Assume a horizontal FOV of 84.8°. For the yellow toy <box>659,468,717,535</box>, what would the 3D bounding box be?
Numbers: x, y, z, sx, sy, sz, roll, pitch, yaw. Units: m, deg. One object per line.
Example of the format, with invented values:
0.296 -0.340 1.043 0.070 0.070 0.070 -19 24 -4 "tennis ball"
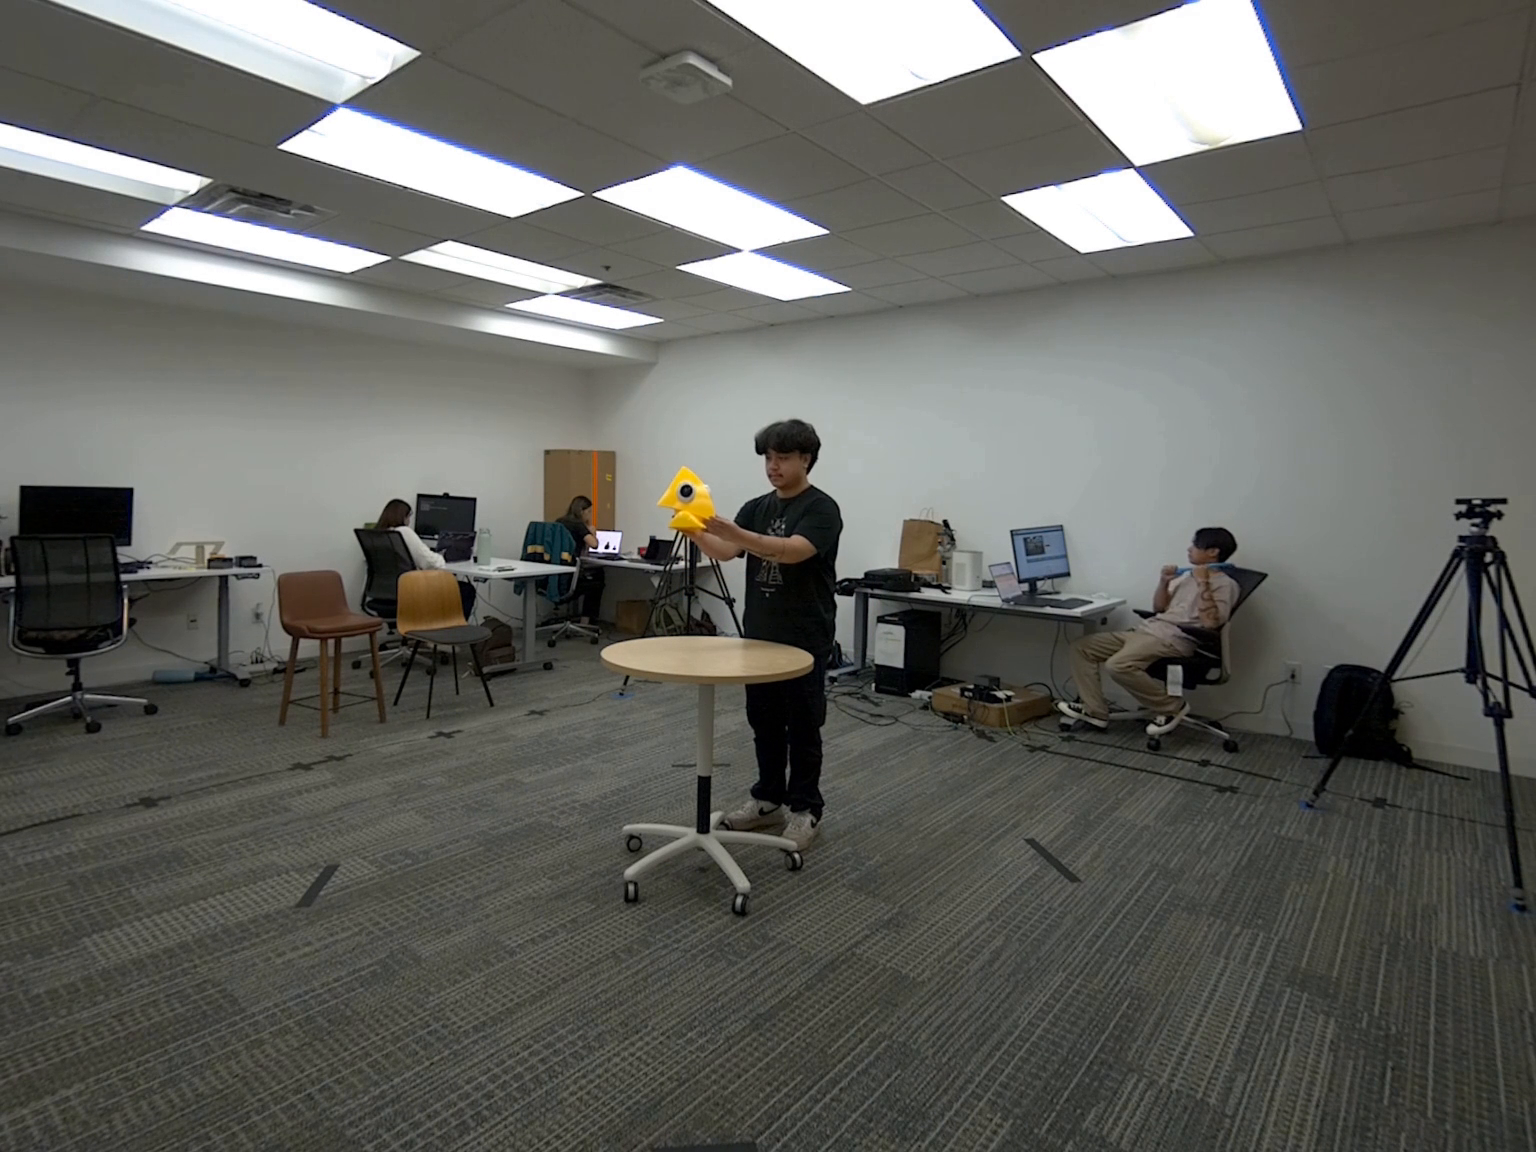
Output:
-0.268 -0.277 3.027 0.199 0.232 0.198 -1 -4 36 "yellow toy"
